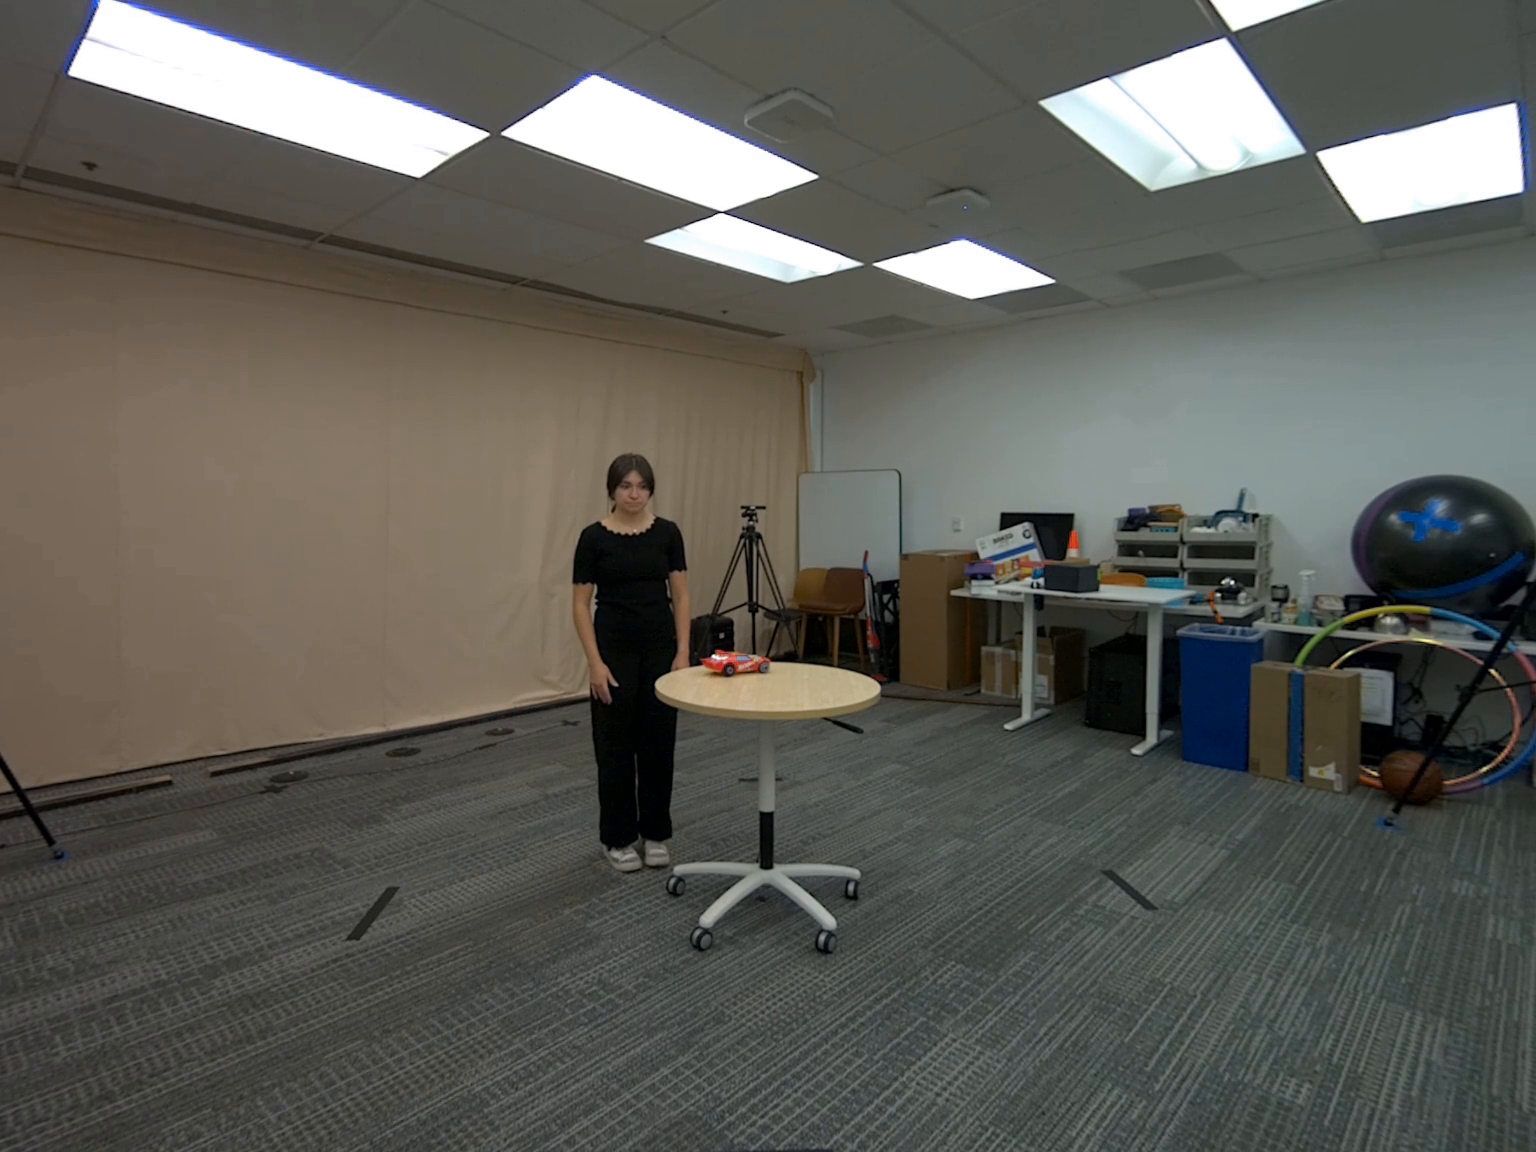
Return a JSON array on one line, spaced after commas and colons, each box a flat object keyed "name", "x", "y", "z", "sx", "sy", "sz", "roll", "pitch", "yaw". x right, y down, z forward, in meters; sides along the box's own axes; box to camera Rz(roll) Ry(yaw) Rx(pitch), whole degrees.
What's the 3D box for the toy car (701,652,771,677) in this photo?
[{"name": "toy car", "x": -0.121, "y": 0.320, "z": 3.049, "sx": 0.248, "sy": 0.083, "sz": 0.134, "roll": 11, "pitch": 0, "yaw": -26}]
